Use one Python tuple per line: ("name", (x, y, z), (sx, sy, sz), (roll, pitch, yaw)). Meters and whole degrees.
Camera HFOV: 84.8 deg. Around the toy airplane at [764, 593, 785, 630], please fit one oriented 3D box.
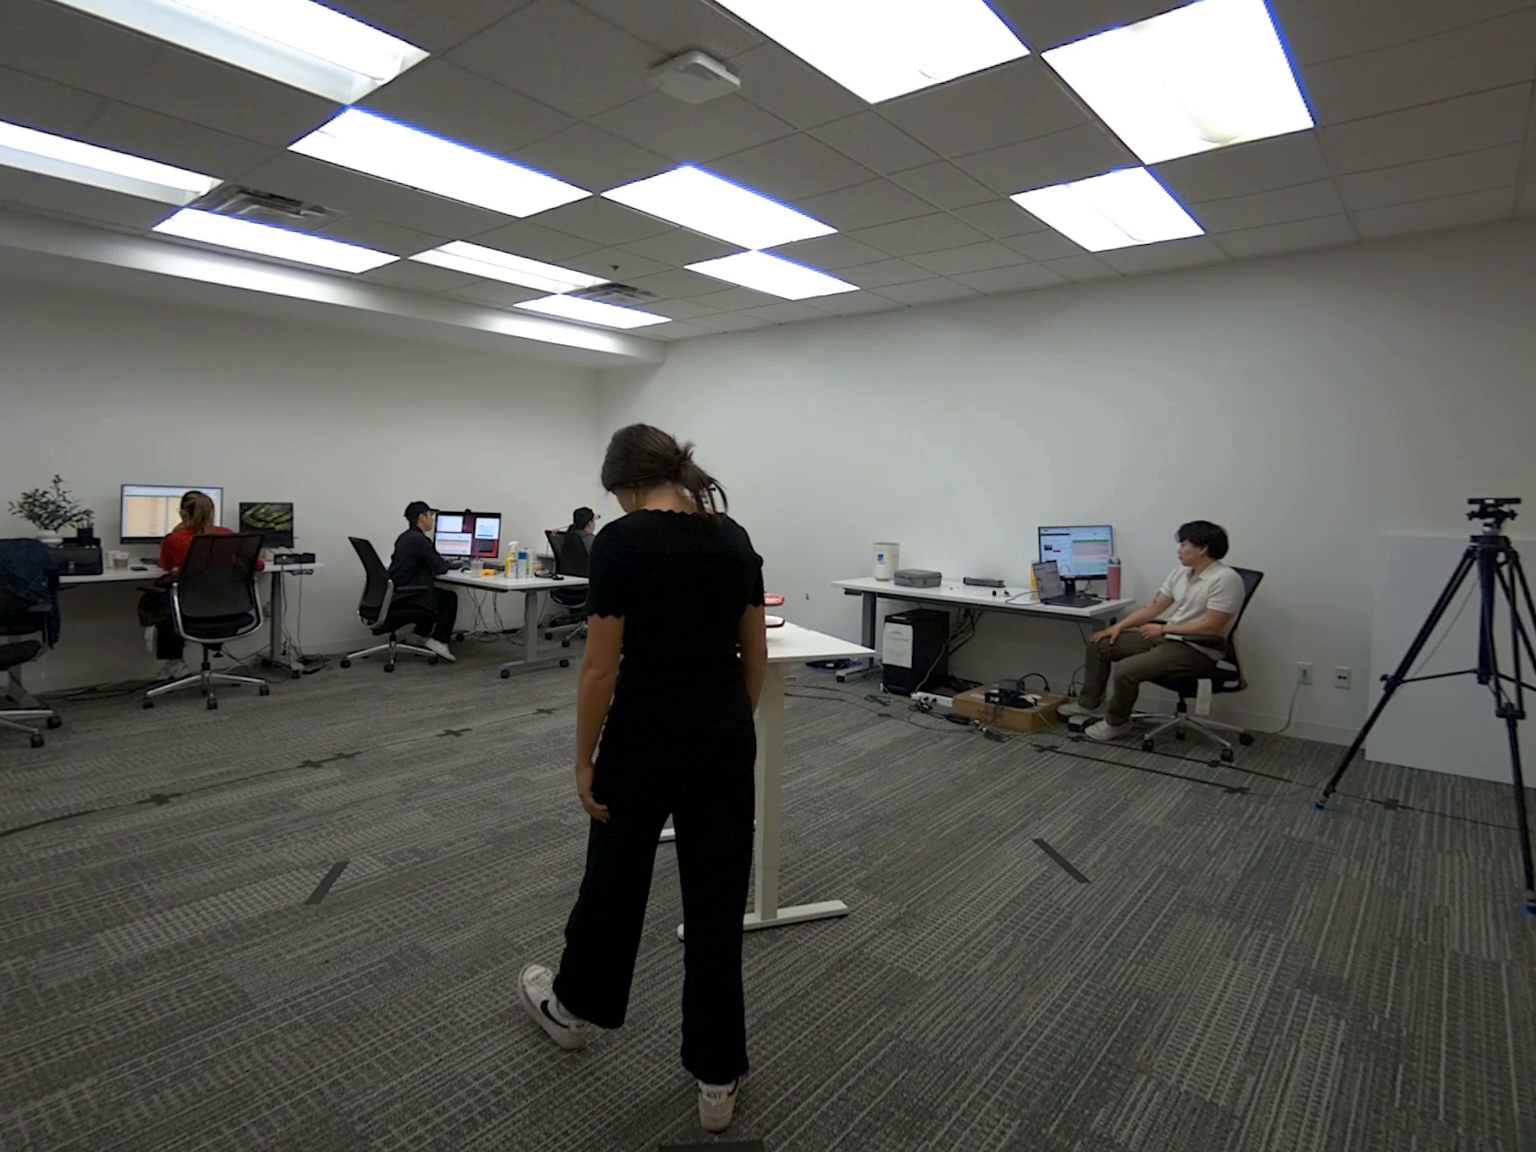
("toy airplane", (-0.063, 0.138, 2.810), (0.247, 0.156, 0.264), (-2, 5, -17))
